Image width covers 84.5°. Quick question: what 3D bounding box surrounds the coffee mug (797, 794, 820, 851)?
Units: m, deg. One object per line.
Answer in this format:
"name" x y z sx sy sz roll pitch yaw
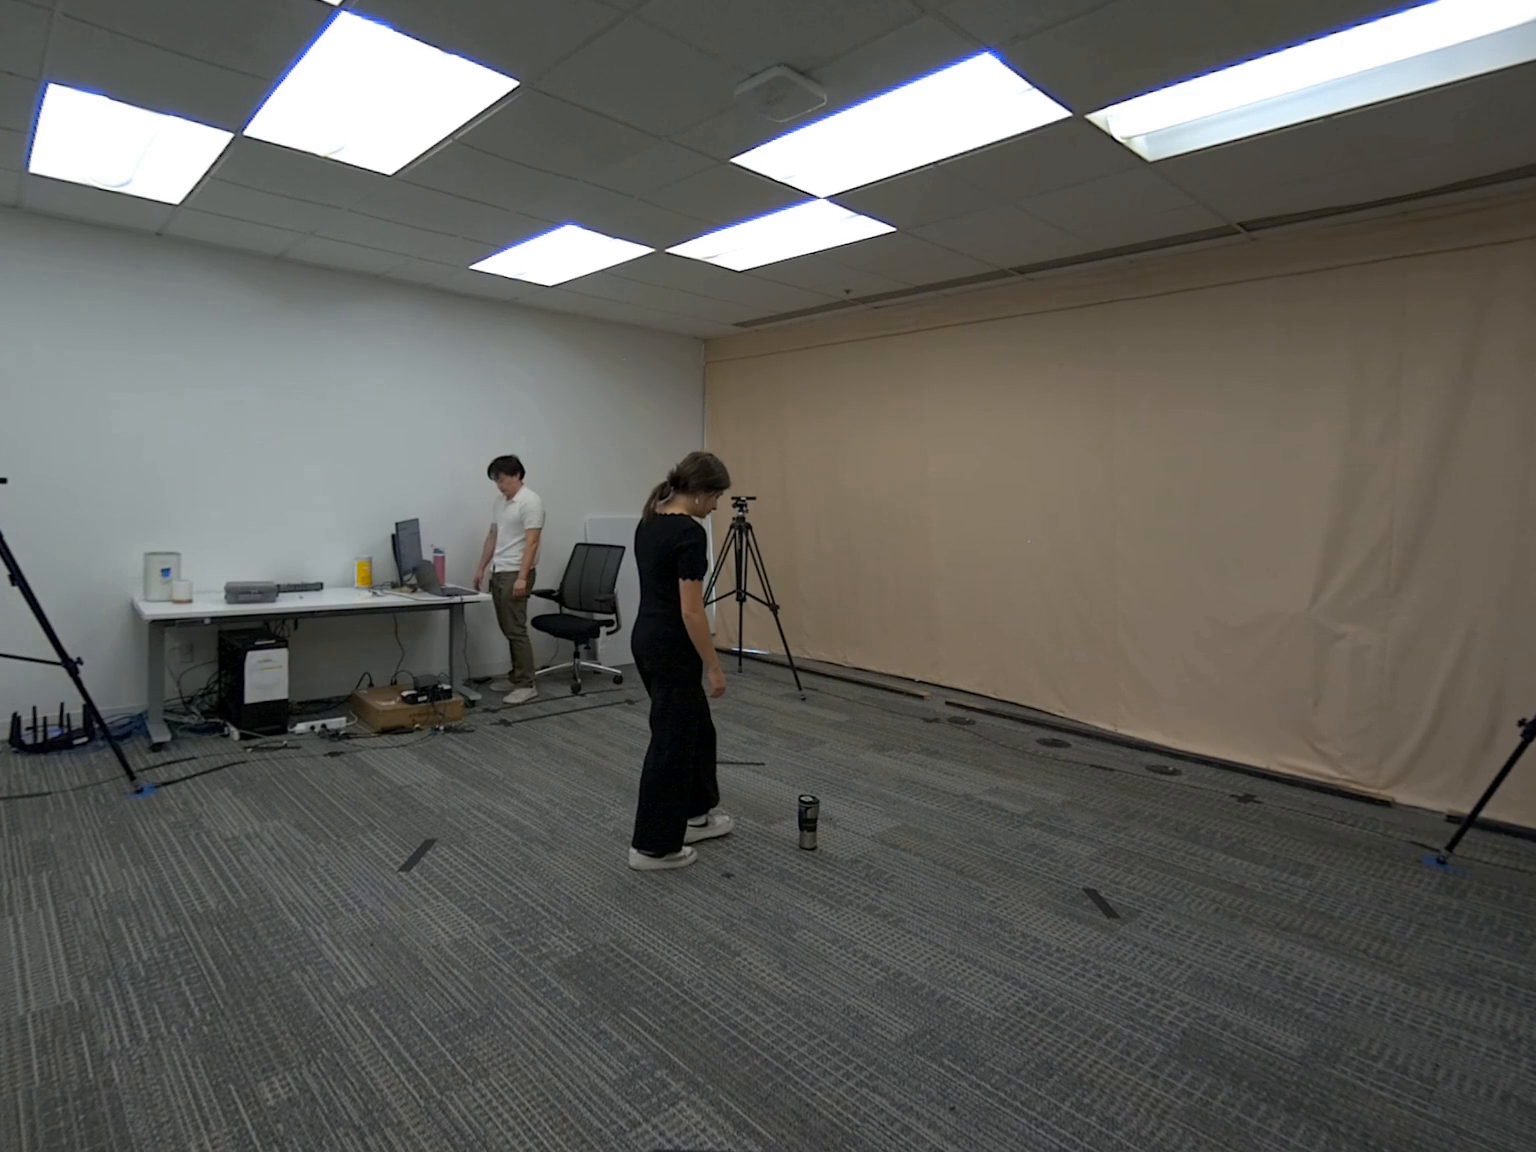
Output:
"coffee mug" 0.131 0.989 3.359 0.119 0.202 0.090 2 5 -43
